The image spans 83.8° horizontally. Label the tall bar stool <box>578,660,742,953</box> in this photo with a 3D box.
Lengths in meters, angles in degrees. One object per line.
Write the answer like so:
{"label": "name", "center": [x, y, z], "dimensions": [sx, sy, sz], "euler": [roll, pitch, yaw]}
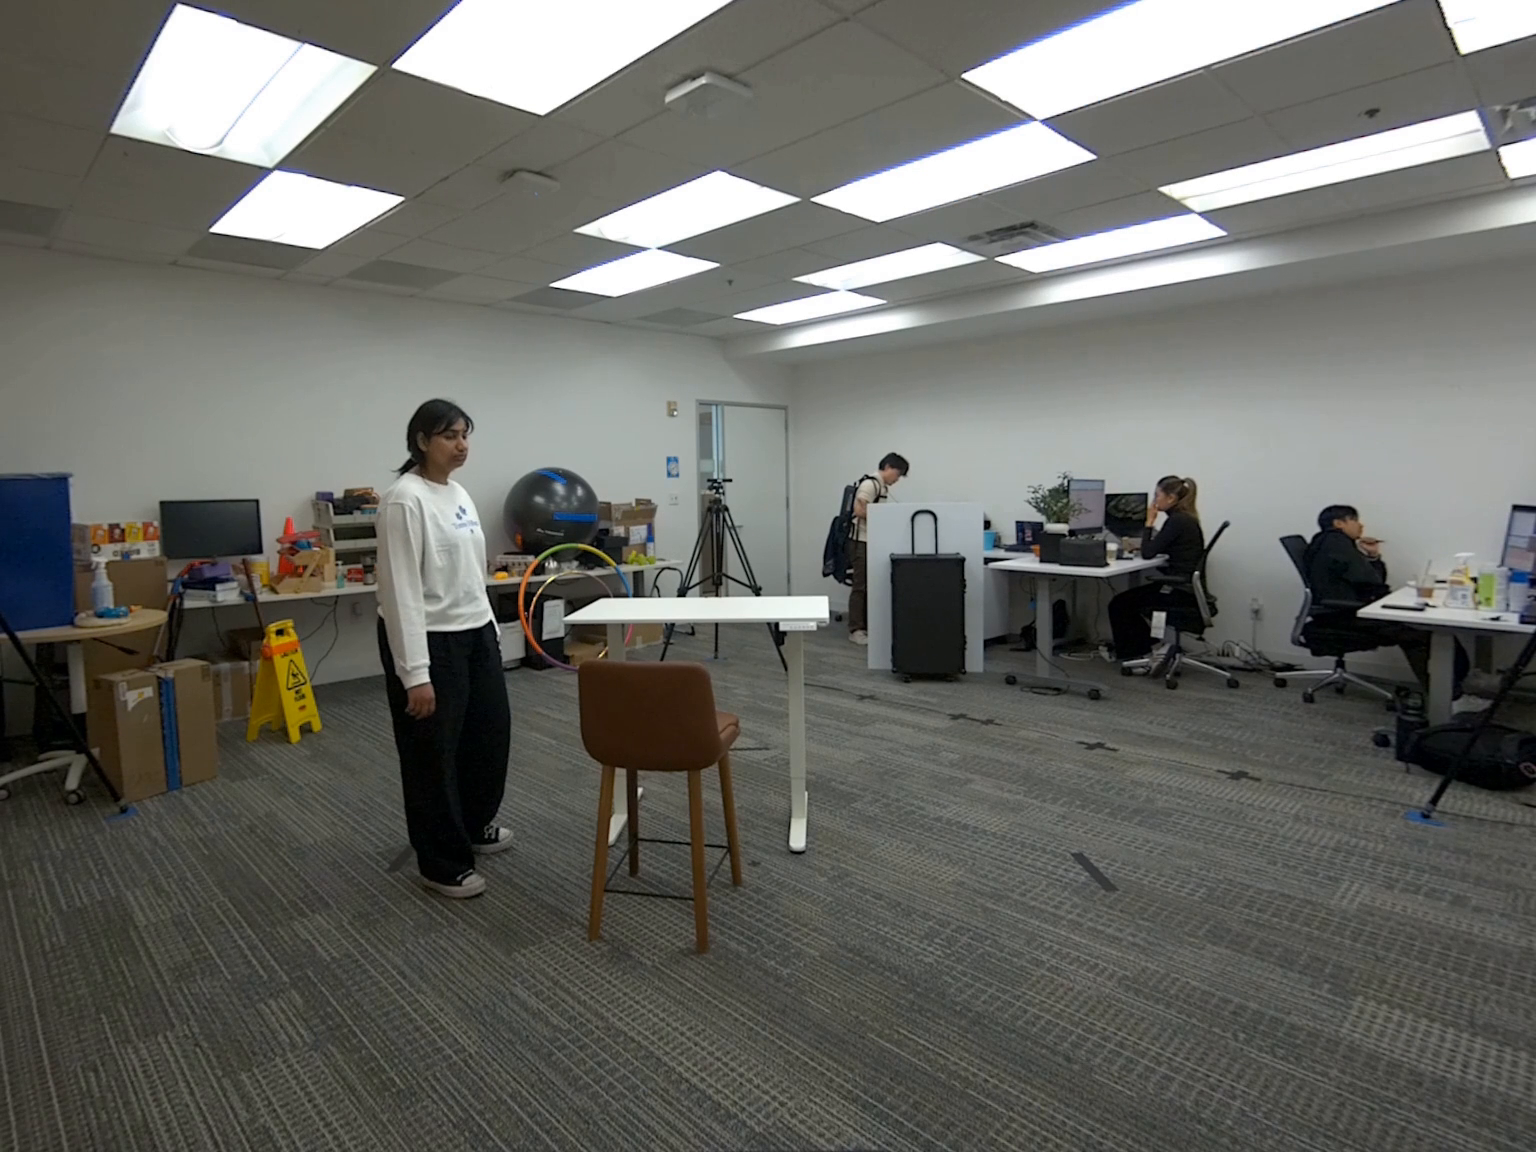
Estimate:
{"label": "tall bar stool", "center": [-0.335, 0.657, 2.749], "dimensions": [0.463, 0.885, 0.464], "euler": [0, 6, 13]}
